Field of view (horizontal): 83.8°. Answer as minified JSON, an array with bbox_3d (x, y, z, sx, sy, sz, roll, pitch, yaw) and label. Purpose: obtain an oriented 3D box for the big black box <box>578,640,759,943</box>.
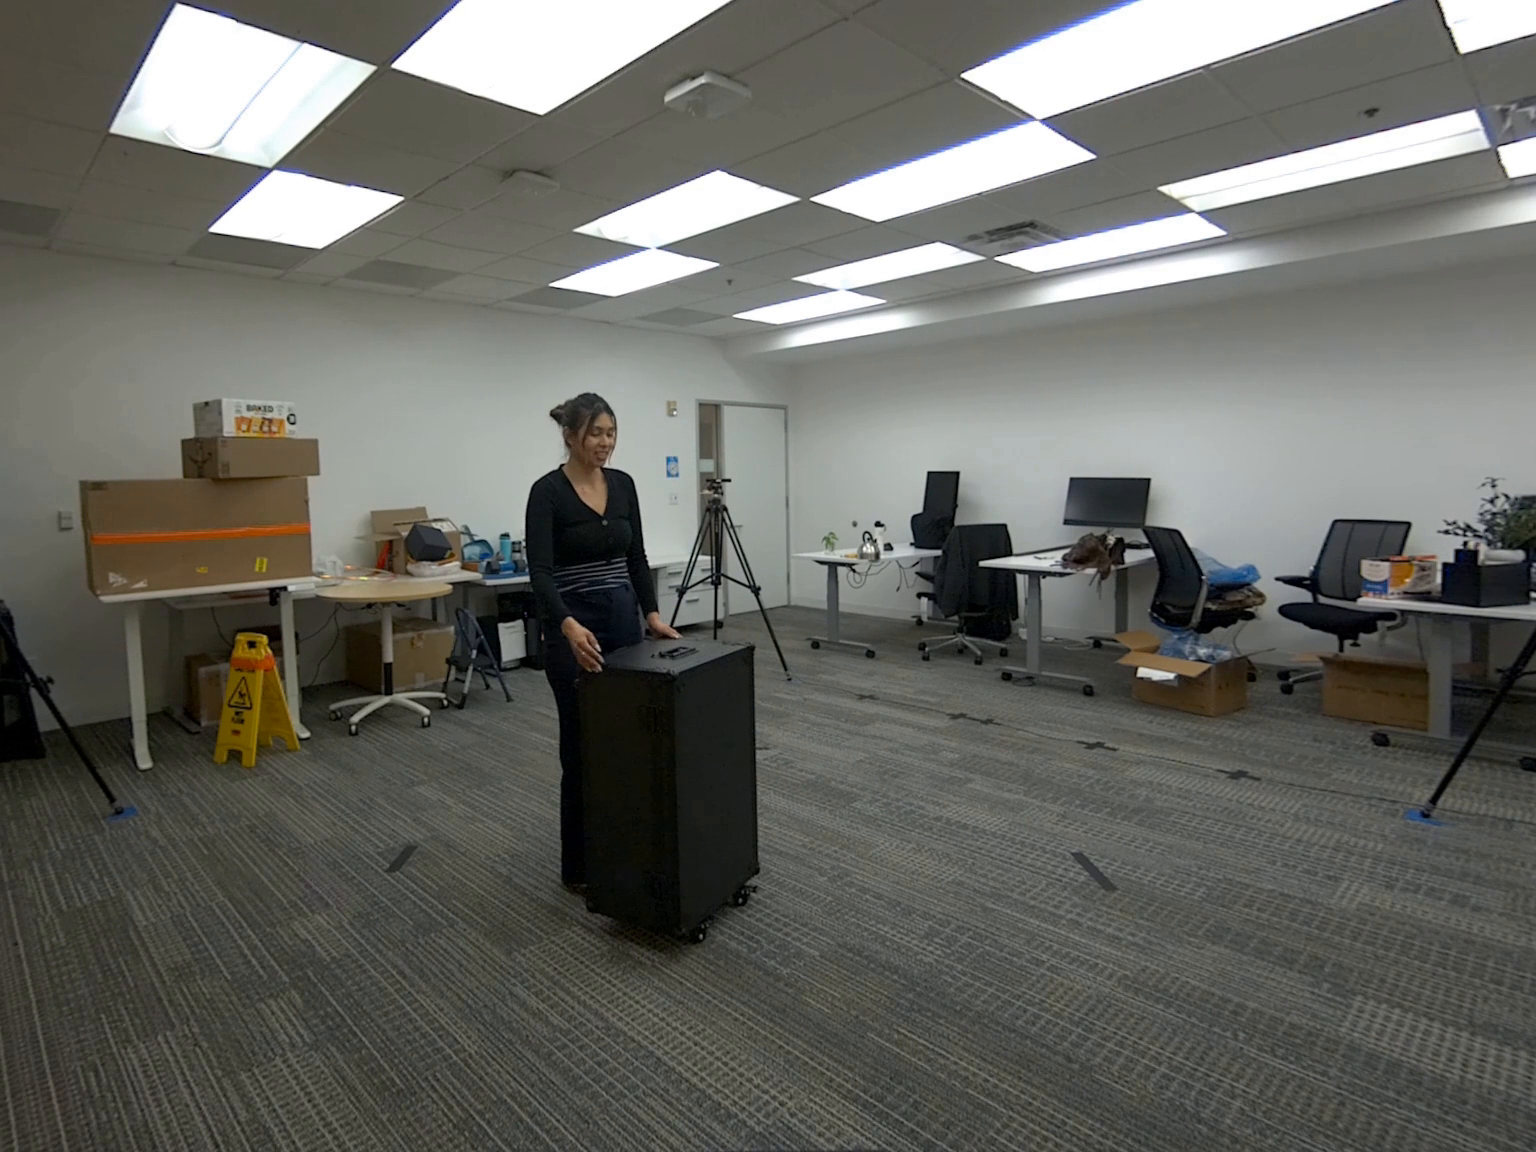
[{"bbox_3d":[-0.311,0.669,2.736,0.406,0.858,0.510,0,5,30],"label":"big black box"}]
